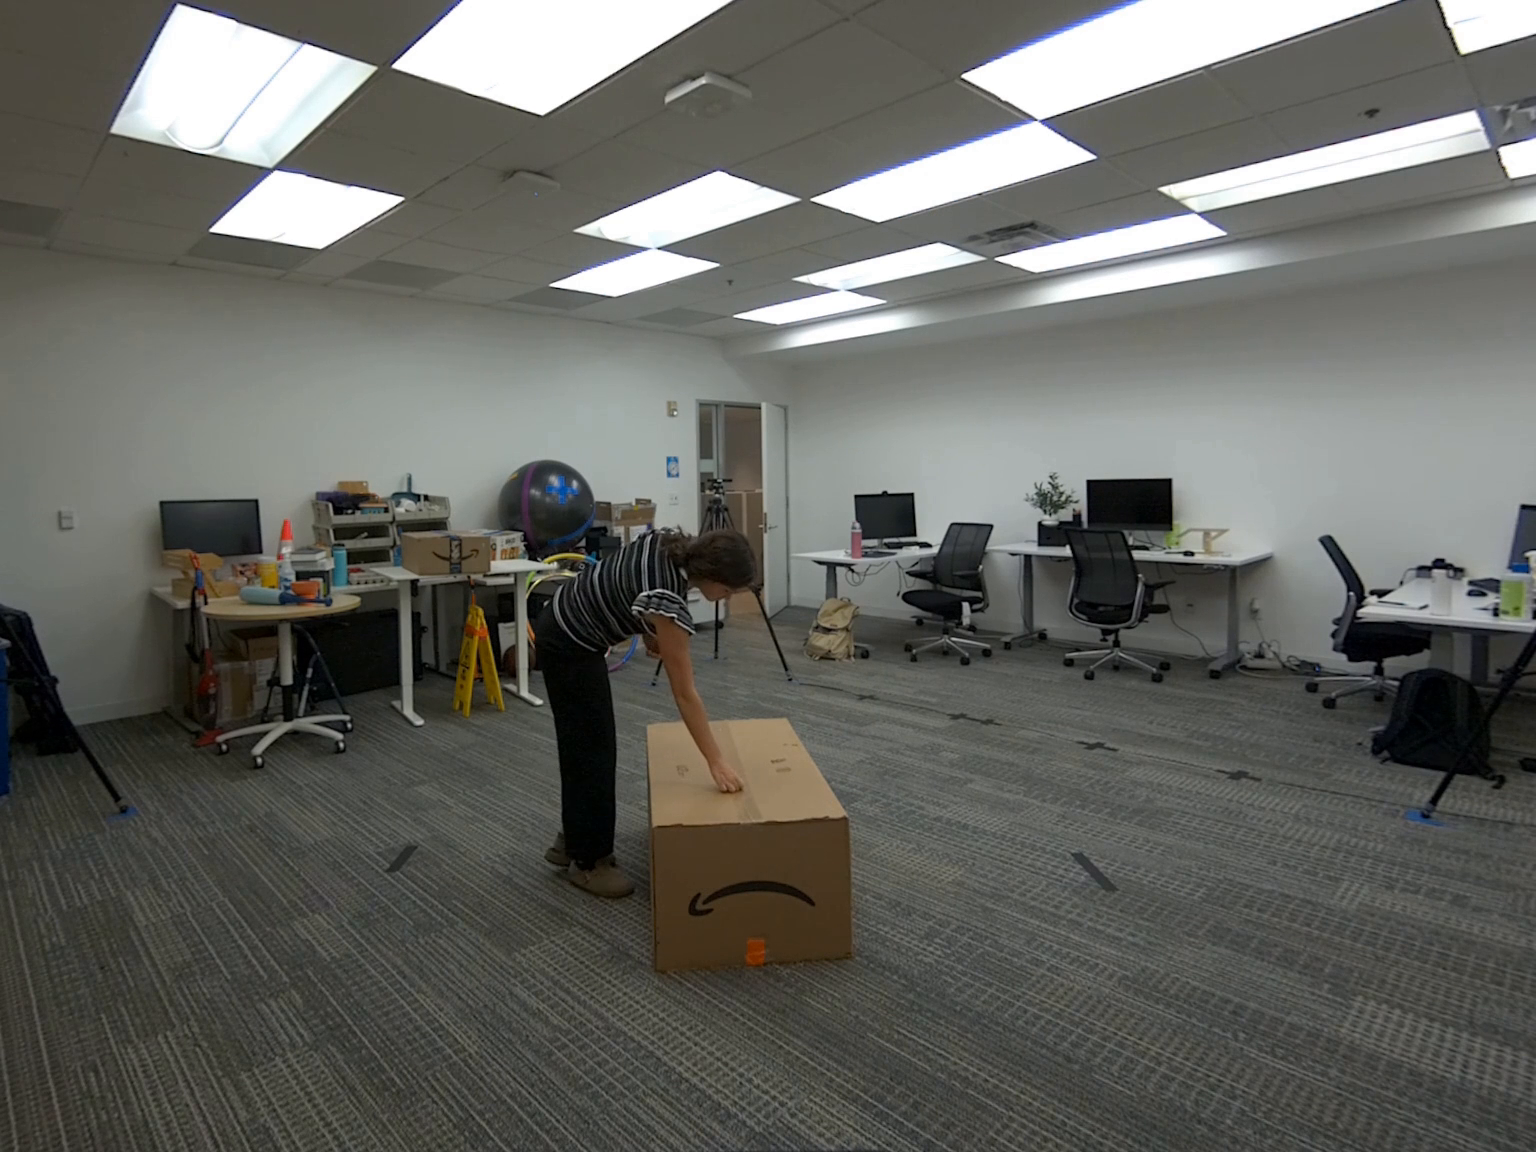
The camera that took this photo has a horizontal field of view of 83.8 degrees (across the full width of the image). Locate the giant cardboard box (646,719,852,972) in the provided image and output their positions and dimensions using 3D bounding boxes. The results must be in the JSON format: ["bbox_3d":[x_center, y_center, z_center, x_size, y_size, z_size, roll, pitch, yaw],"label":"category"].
[{"bbox_3d":[-0.121,0.854,2.948,0.573,0.424,1.038,-2,6,-8],"label":"giant cardboard box"}]
